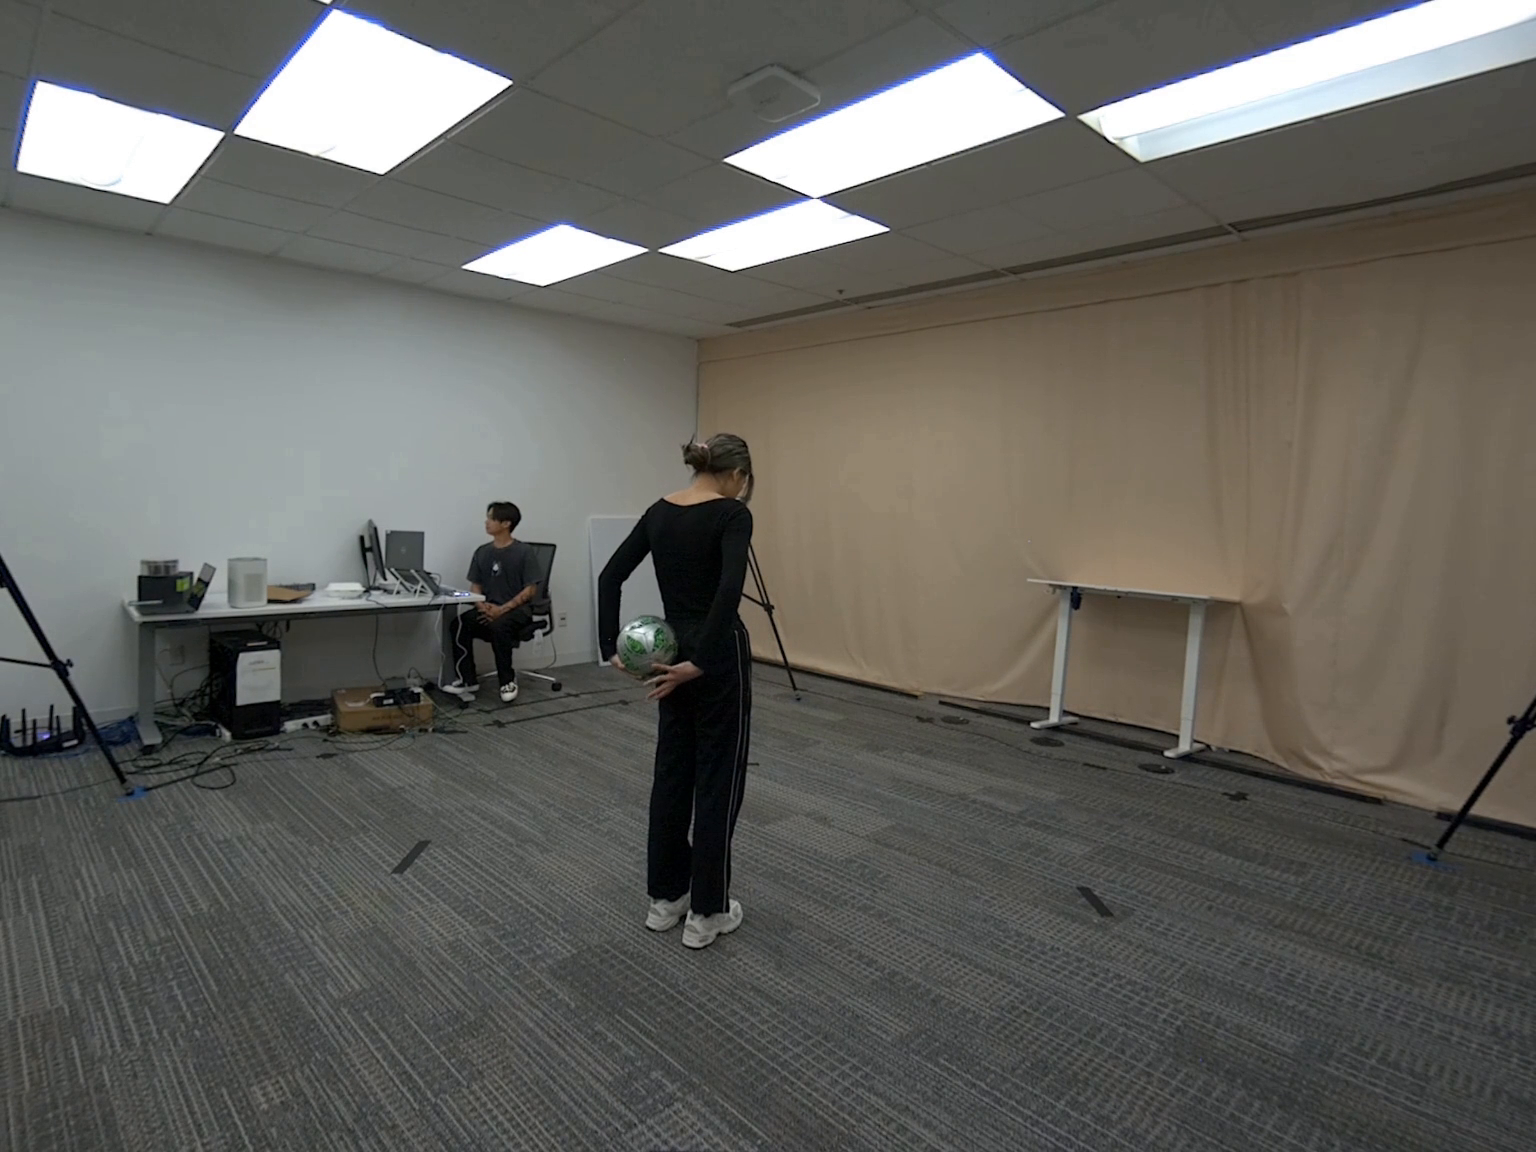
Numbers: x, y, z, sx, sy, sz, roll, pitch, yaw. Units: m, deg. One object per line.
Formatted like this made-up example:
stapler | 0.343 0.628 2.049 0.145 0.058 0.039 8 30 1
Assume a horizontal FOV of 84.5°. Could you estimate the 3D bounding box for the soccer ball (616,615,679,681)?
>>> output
soccer ball | -0.386 0.215 2.544 0.187 0.187 0.188 1 4 -1
